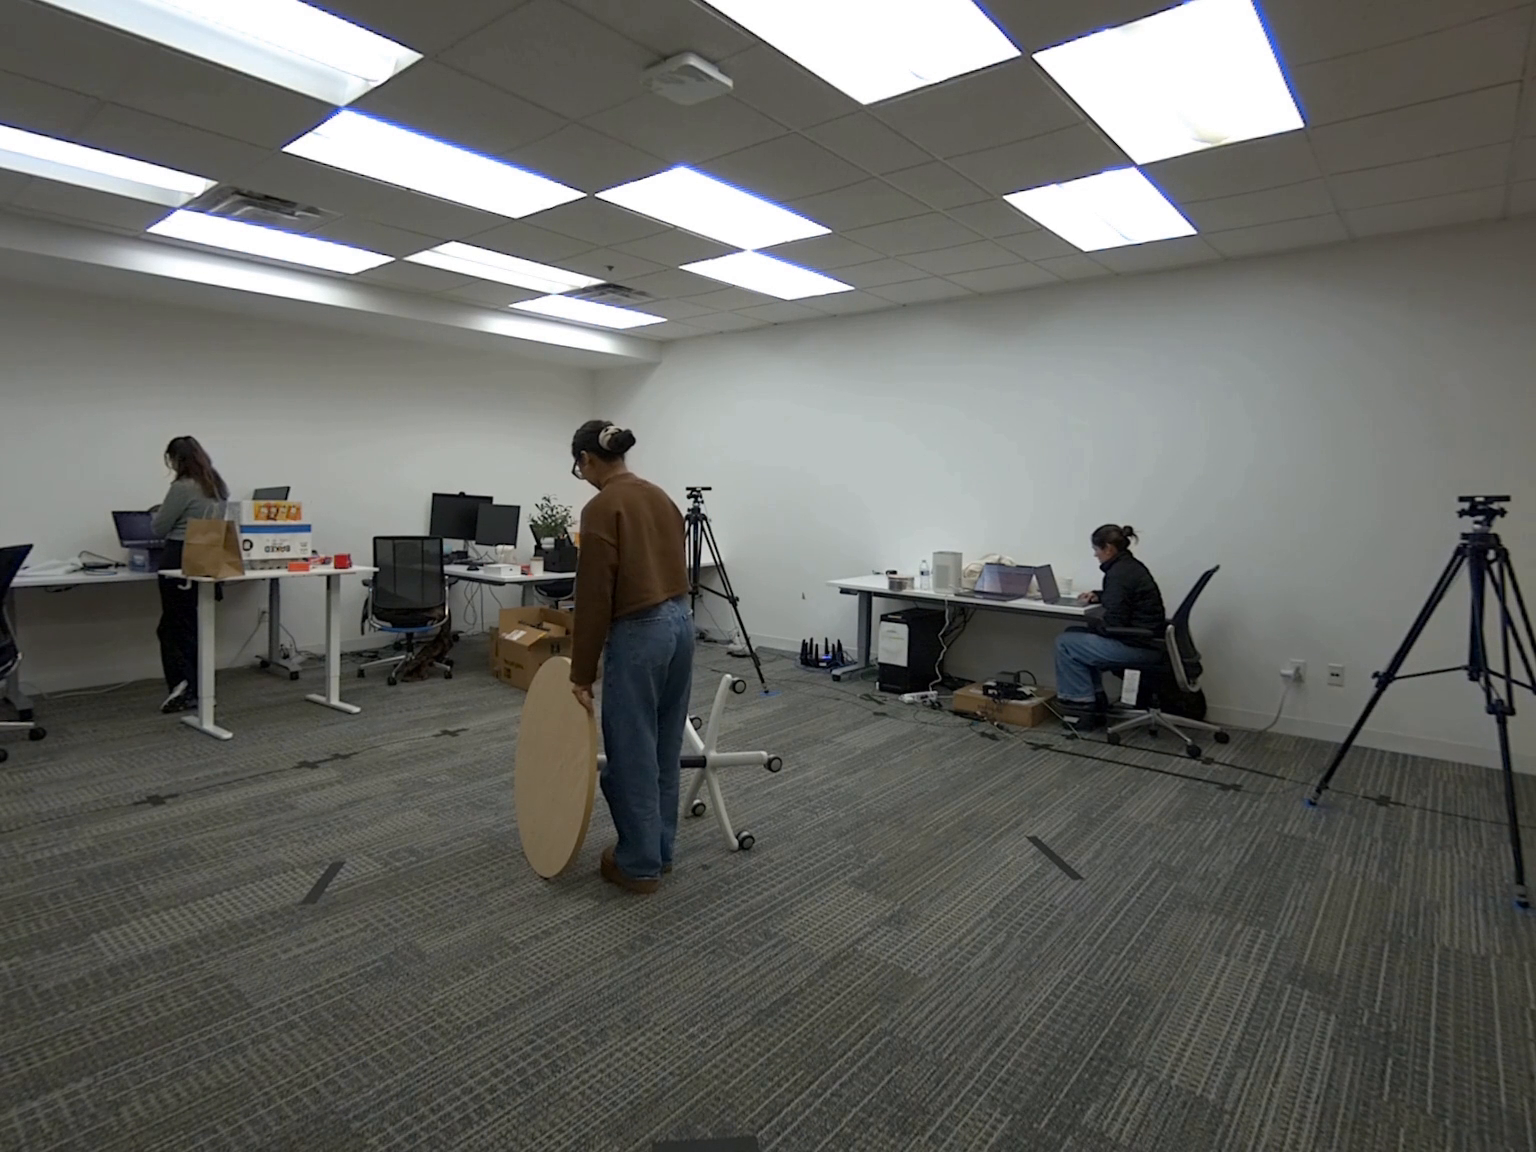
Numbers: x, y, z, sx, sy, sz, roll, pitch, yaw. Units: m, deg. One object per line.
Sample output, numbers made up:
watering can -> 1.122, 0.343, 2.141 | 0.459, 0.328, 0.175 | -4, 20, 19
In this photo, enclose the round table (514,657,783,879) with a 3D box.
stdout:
round table -> -0.482, 0.711, 3.279 | 0.769, 0.764, 0.788 | 7, 0, -32
